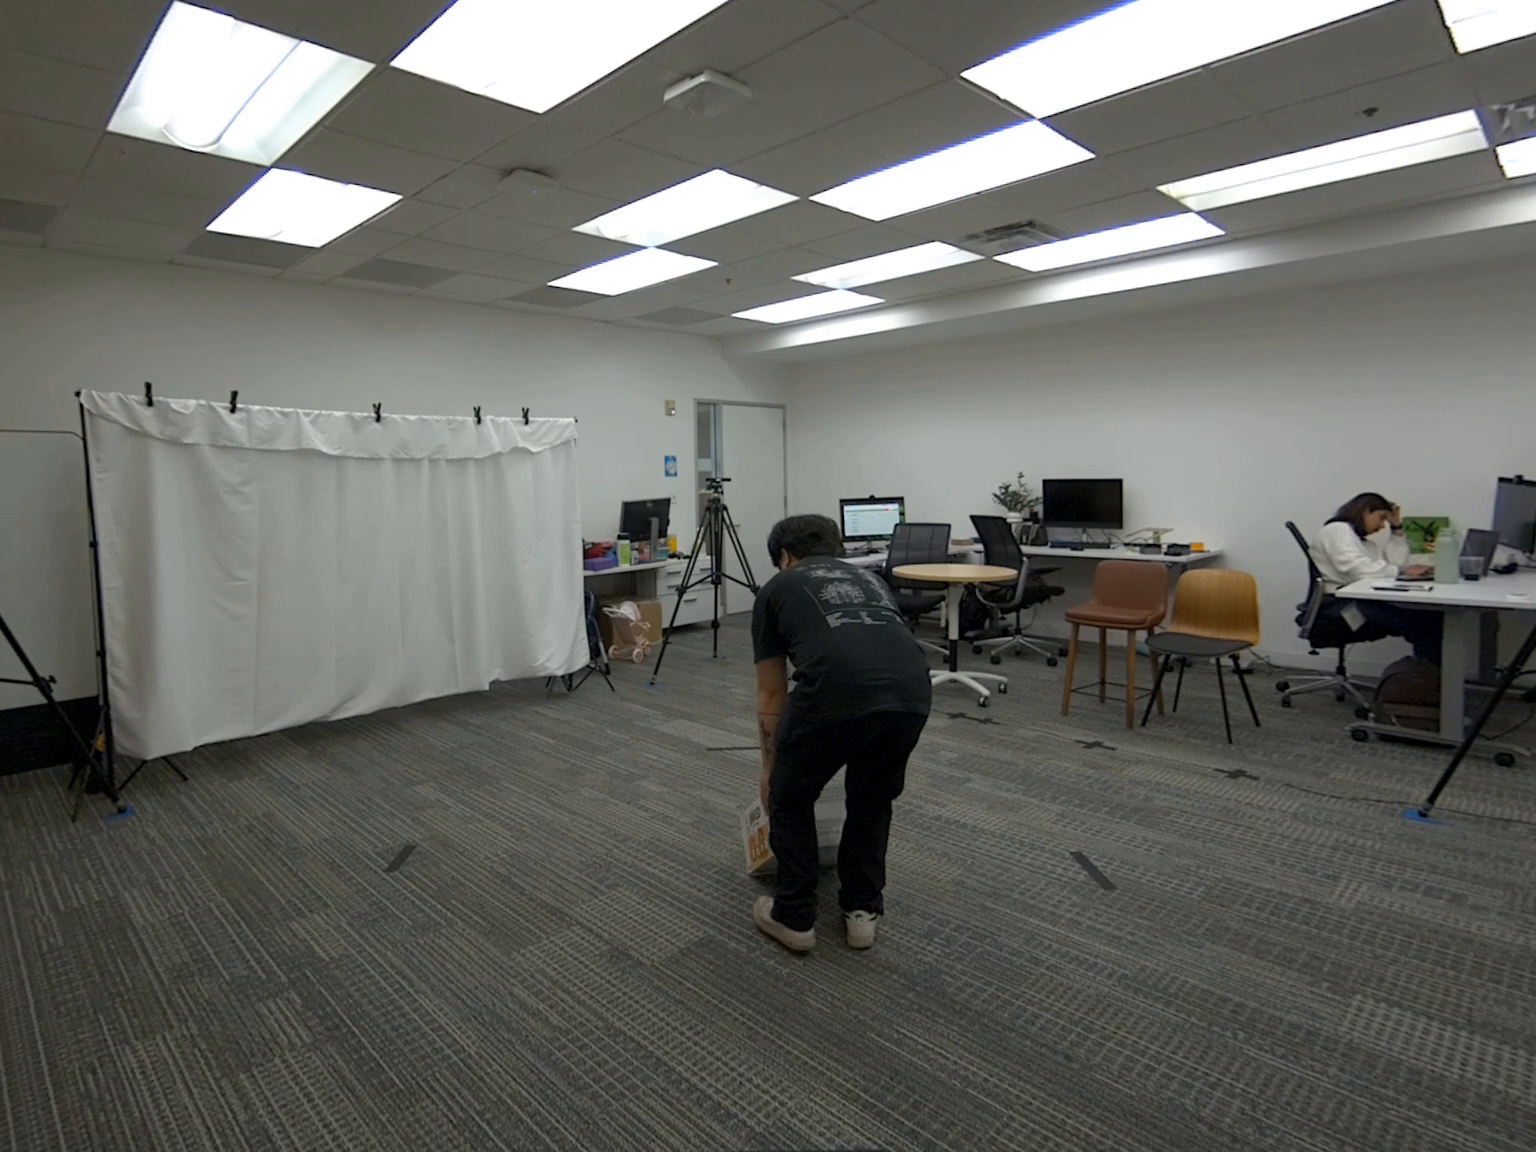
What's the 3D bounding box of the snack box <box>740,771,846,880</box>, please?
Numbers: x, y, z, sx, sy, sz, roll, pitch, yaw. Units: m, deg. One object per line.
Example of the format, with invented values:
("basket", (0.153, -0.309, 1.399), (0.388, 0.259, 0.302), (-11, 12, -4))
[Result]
("snack box", (0.128, 0.867, 2.927), (0.336, 0.211, 0.400), (-1, -28, -15))
